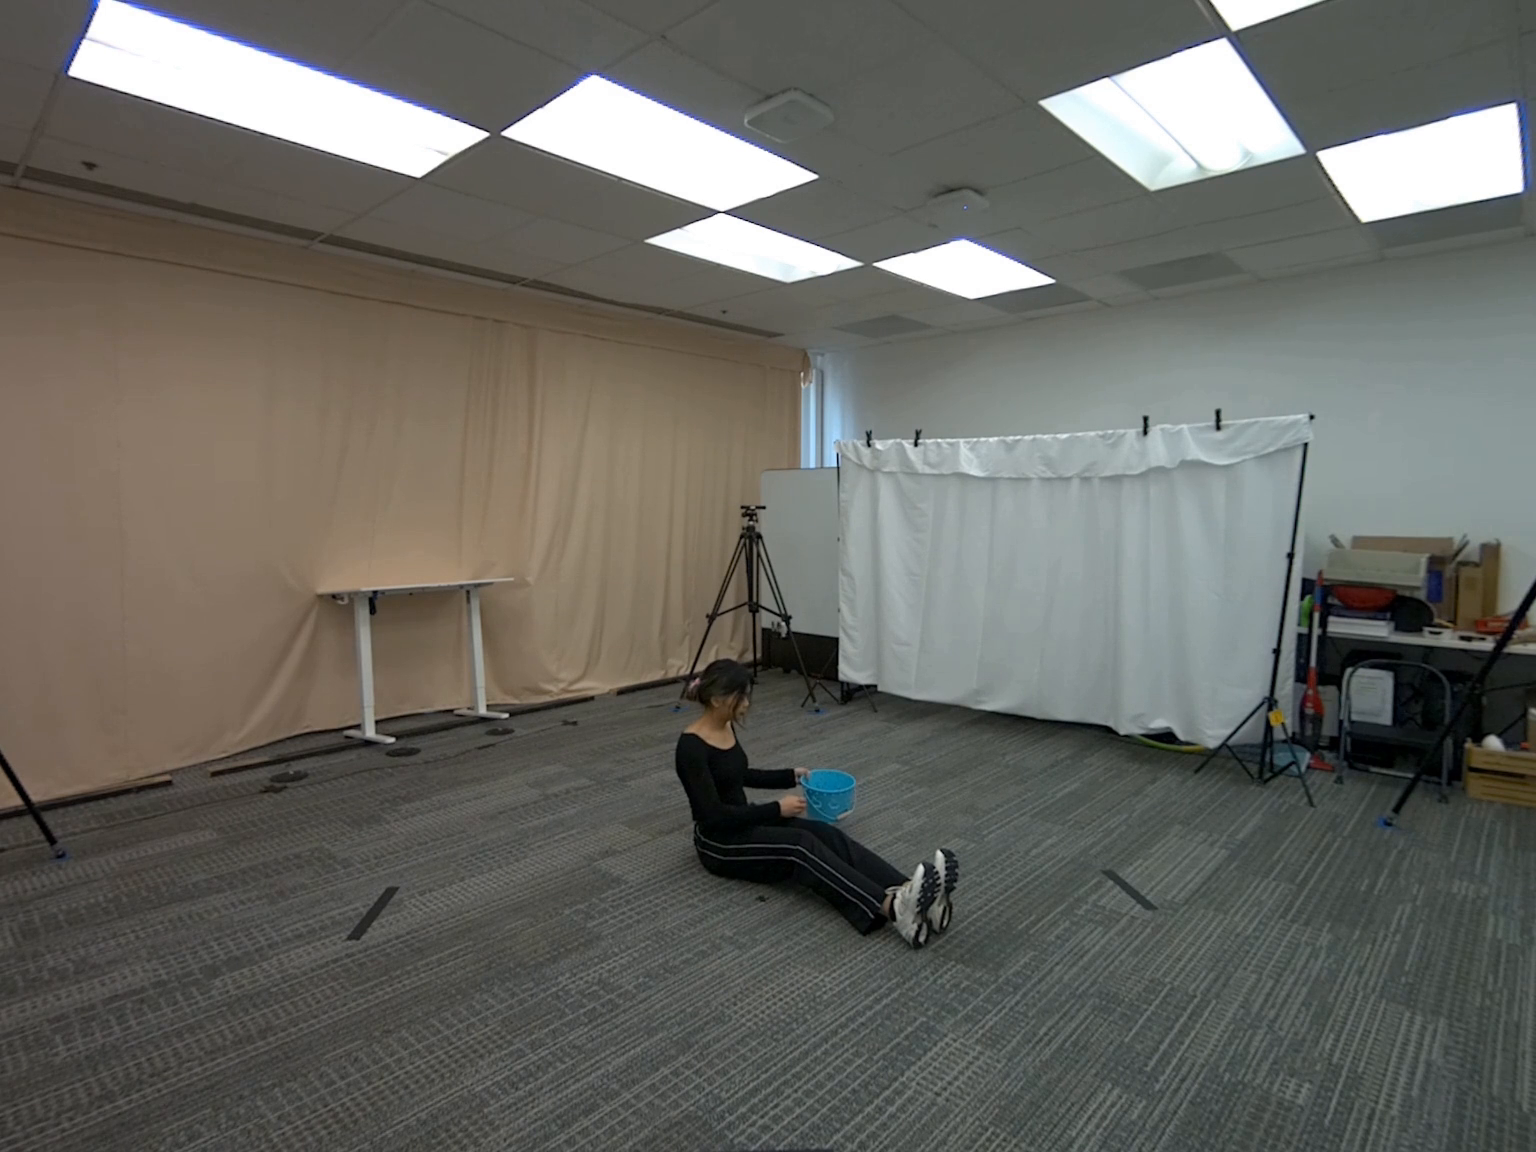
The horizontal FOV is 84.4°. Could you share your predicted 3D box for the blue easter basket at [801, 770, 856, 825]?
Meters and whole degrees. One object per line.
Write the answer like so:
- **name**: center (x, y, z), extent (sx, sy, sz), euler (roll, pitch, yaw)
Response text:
- **blue easter basket**: center (0.259, 0.942, 3.558), extent (0.243, 0.155, 0.245), euler (-2, 8, -2)
